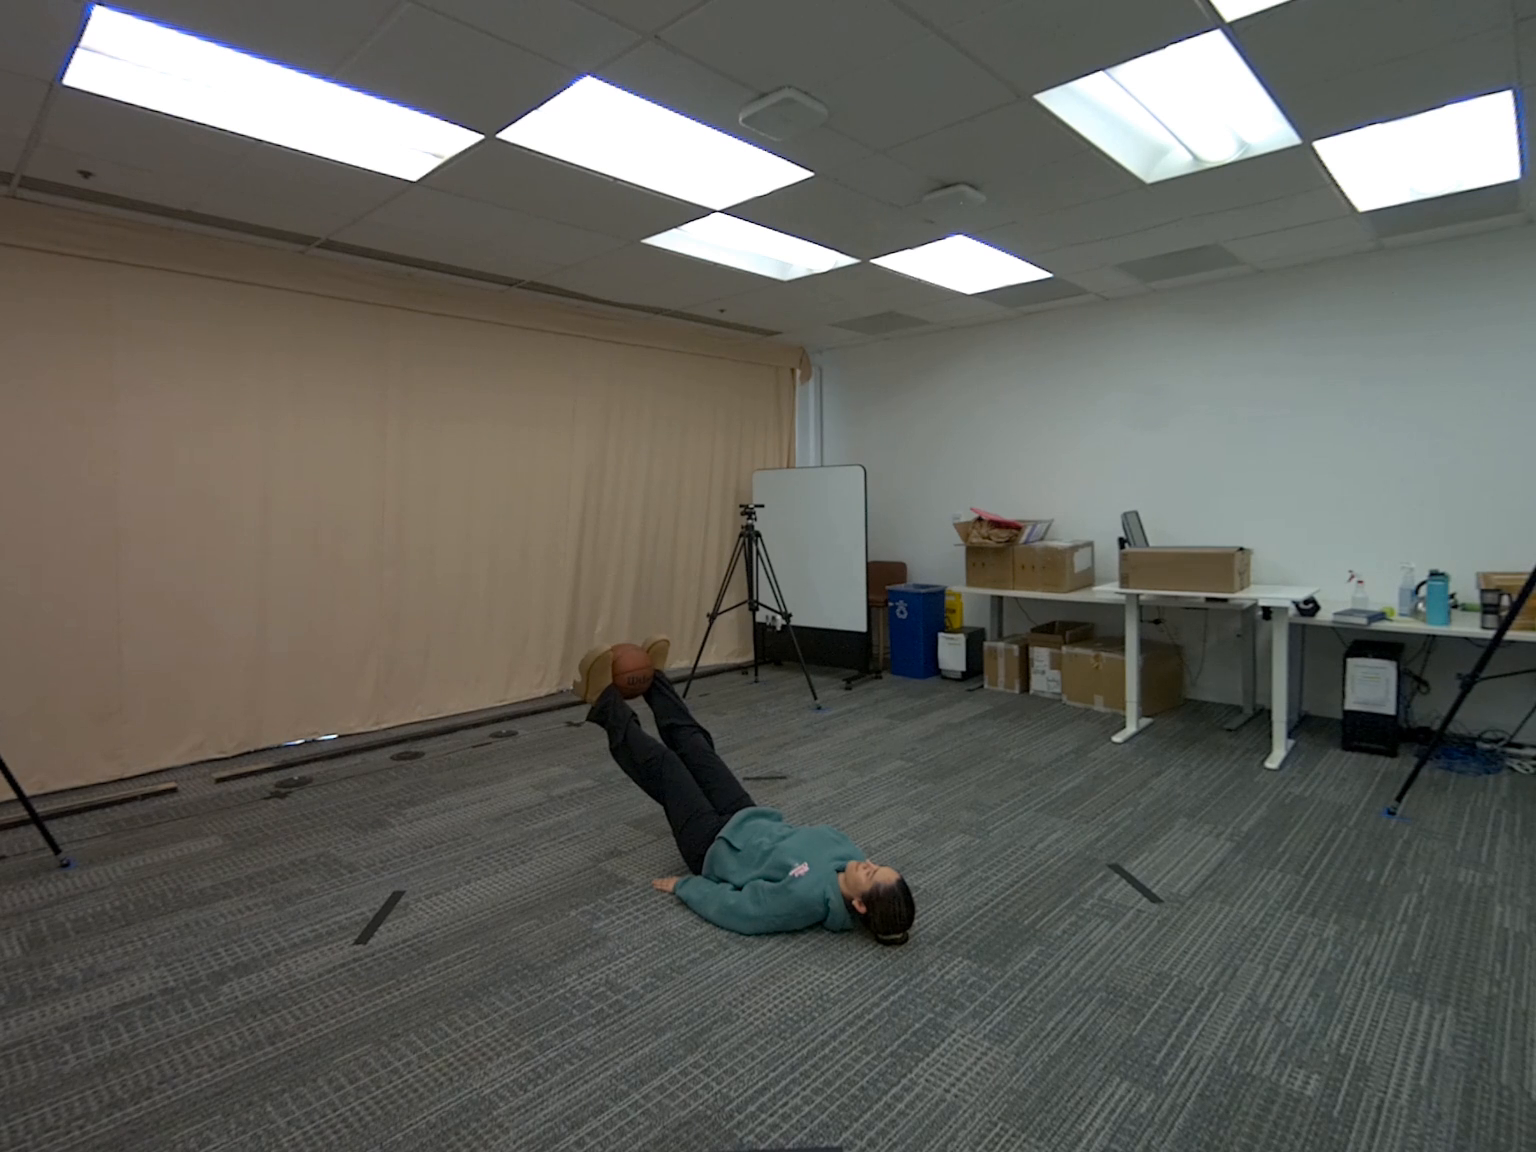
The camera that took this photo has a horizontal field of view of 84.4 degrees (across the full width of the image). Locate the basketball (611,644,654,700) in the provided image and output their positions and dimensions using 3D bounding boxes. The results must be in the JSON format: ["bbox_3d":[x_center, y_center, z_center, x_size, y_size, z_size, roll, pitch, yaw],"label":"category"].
[{"bbox_3d":[-0.593,0.401,3.514,0.236,0.235,0.237,0,4,-2],"label":"basketball"}]
